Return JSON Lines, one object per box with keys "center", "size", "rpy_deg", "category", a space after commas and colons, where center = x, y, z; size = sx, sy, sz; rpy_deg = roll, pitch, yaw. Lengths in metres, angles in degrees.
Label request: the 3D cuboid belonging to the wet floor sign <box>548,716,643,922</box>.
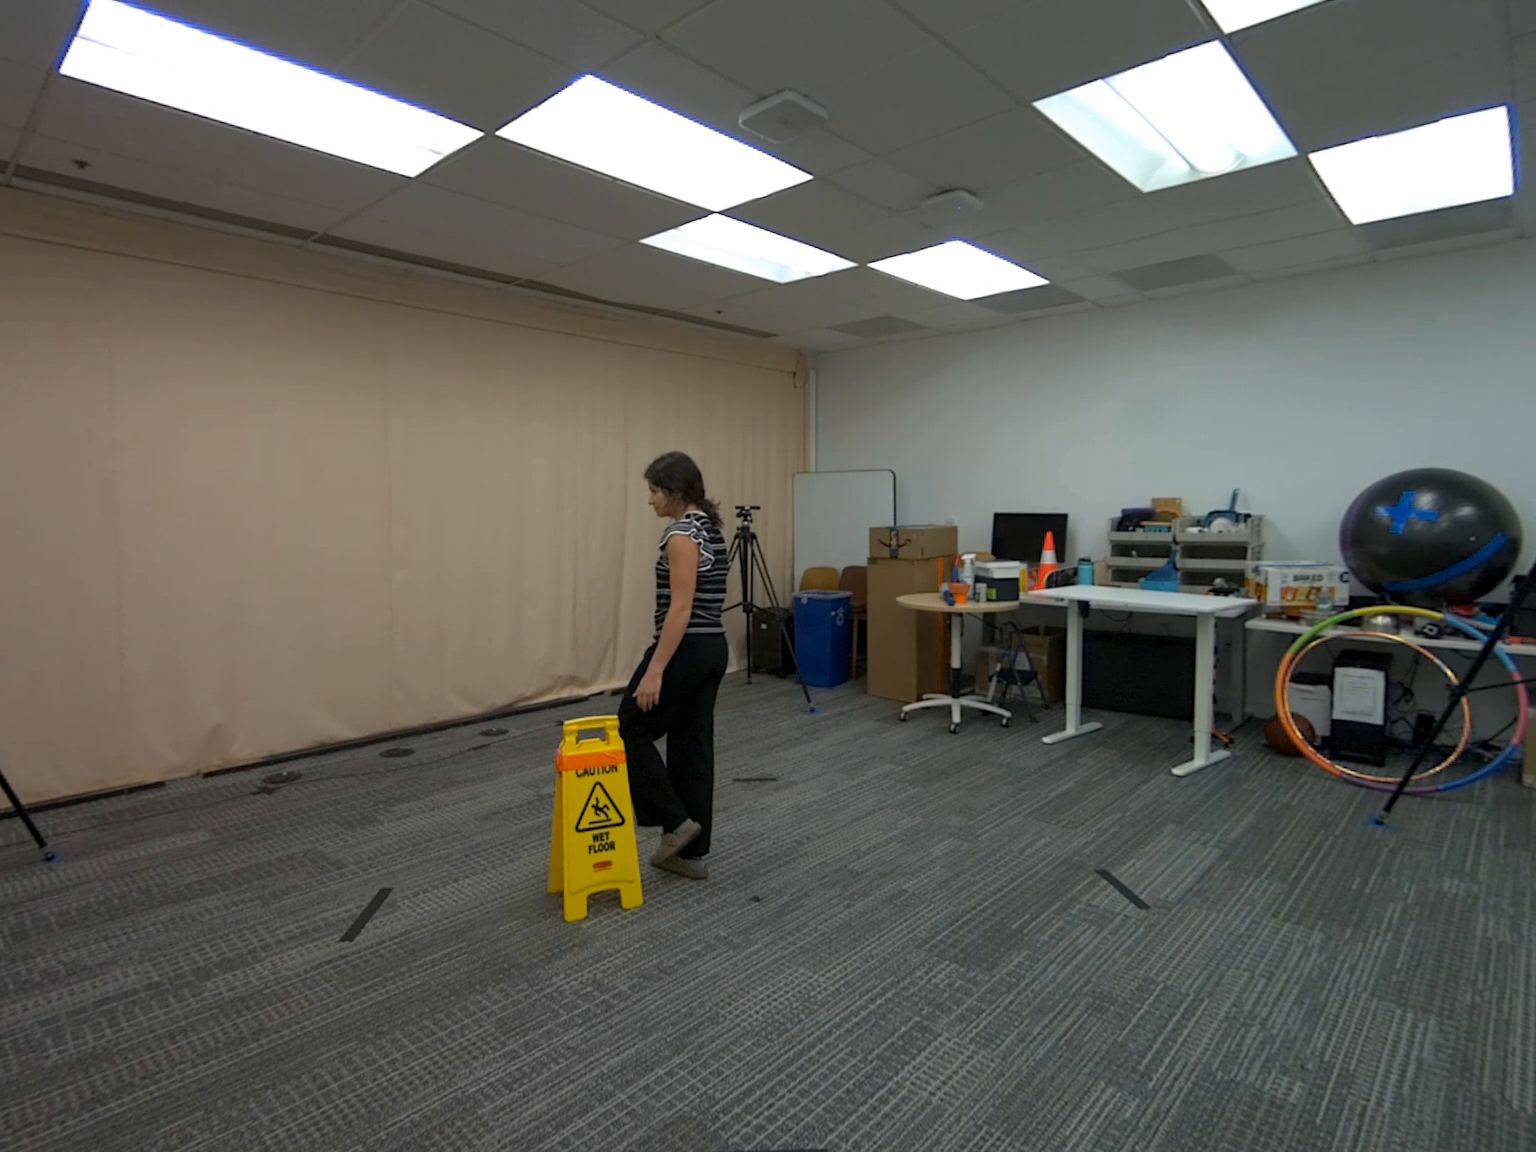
{"center": [-0.624, 0.823, 2.977], "size": [0.276, 0.645, 0.297], "rpy_deg": [-2, 3, -25], "category": "wet floor sign"}
